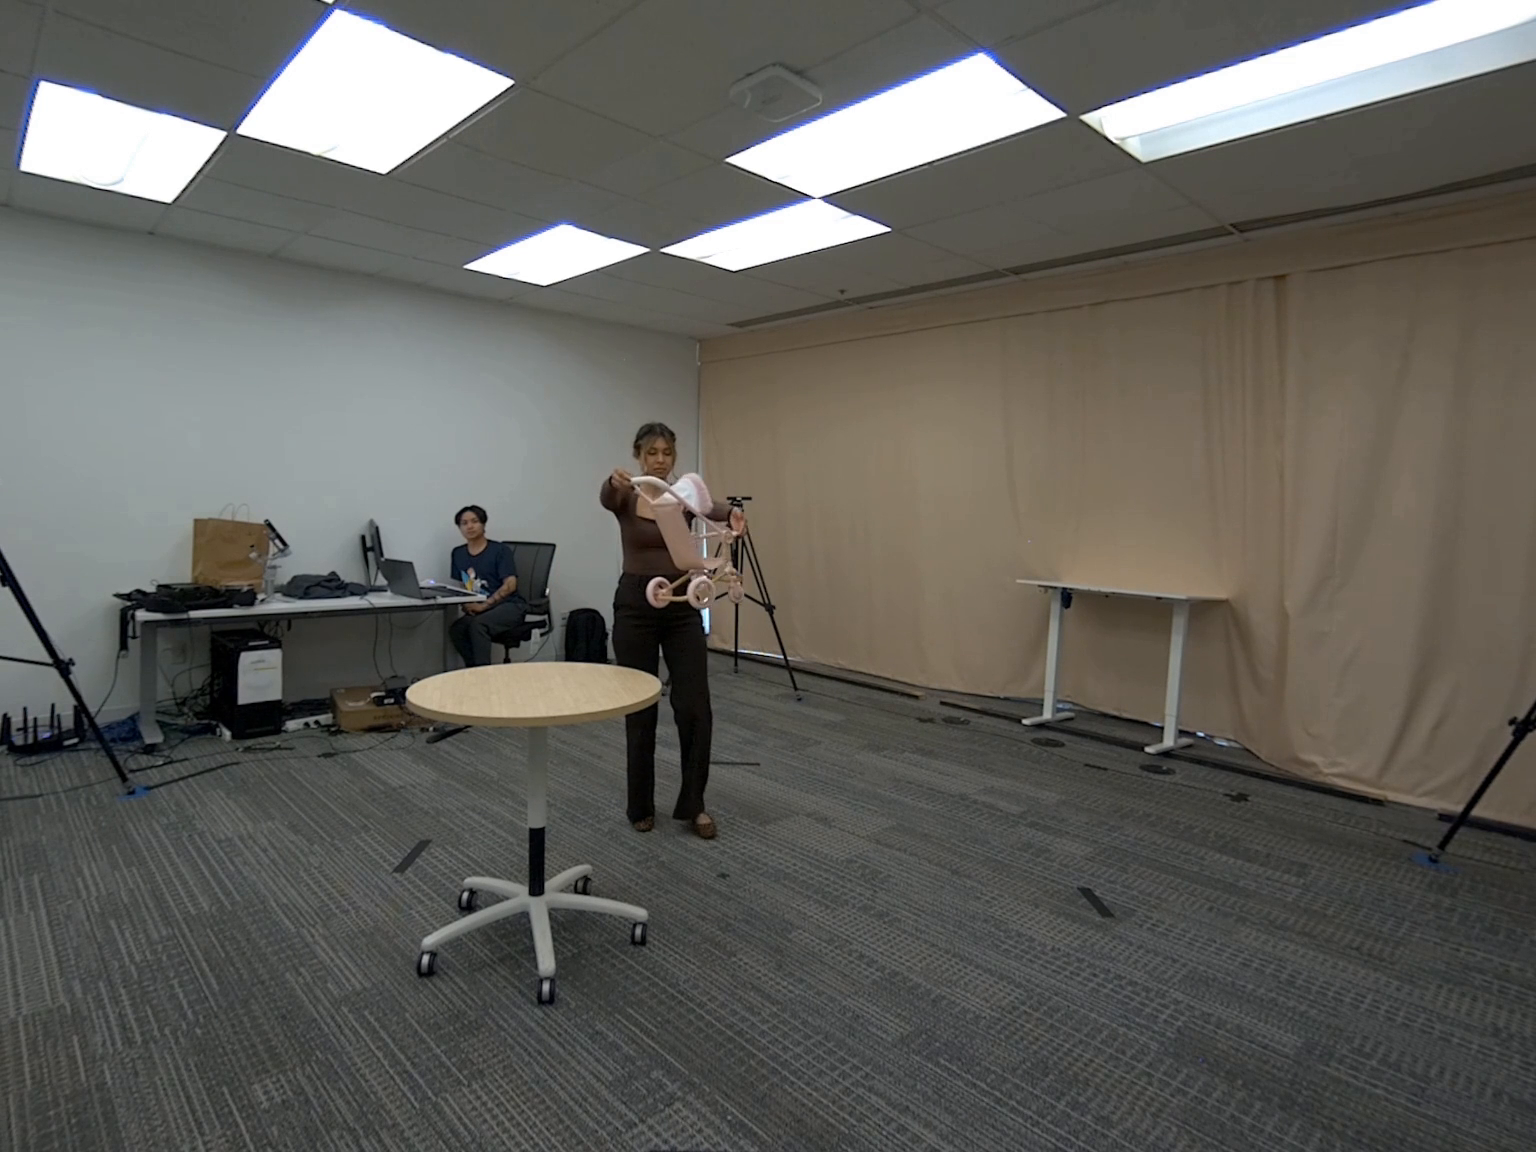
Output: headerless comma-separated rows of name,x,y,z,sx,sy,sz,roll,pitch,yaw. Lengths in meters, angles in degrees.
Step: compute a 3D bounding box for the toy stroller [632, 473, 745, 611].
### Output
toy stroller,-0.268,-0.117,2.975,0.336,0.531,0.287,-18,9,-35
